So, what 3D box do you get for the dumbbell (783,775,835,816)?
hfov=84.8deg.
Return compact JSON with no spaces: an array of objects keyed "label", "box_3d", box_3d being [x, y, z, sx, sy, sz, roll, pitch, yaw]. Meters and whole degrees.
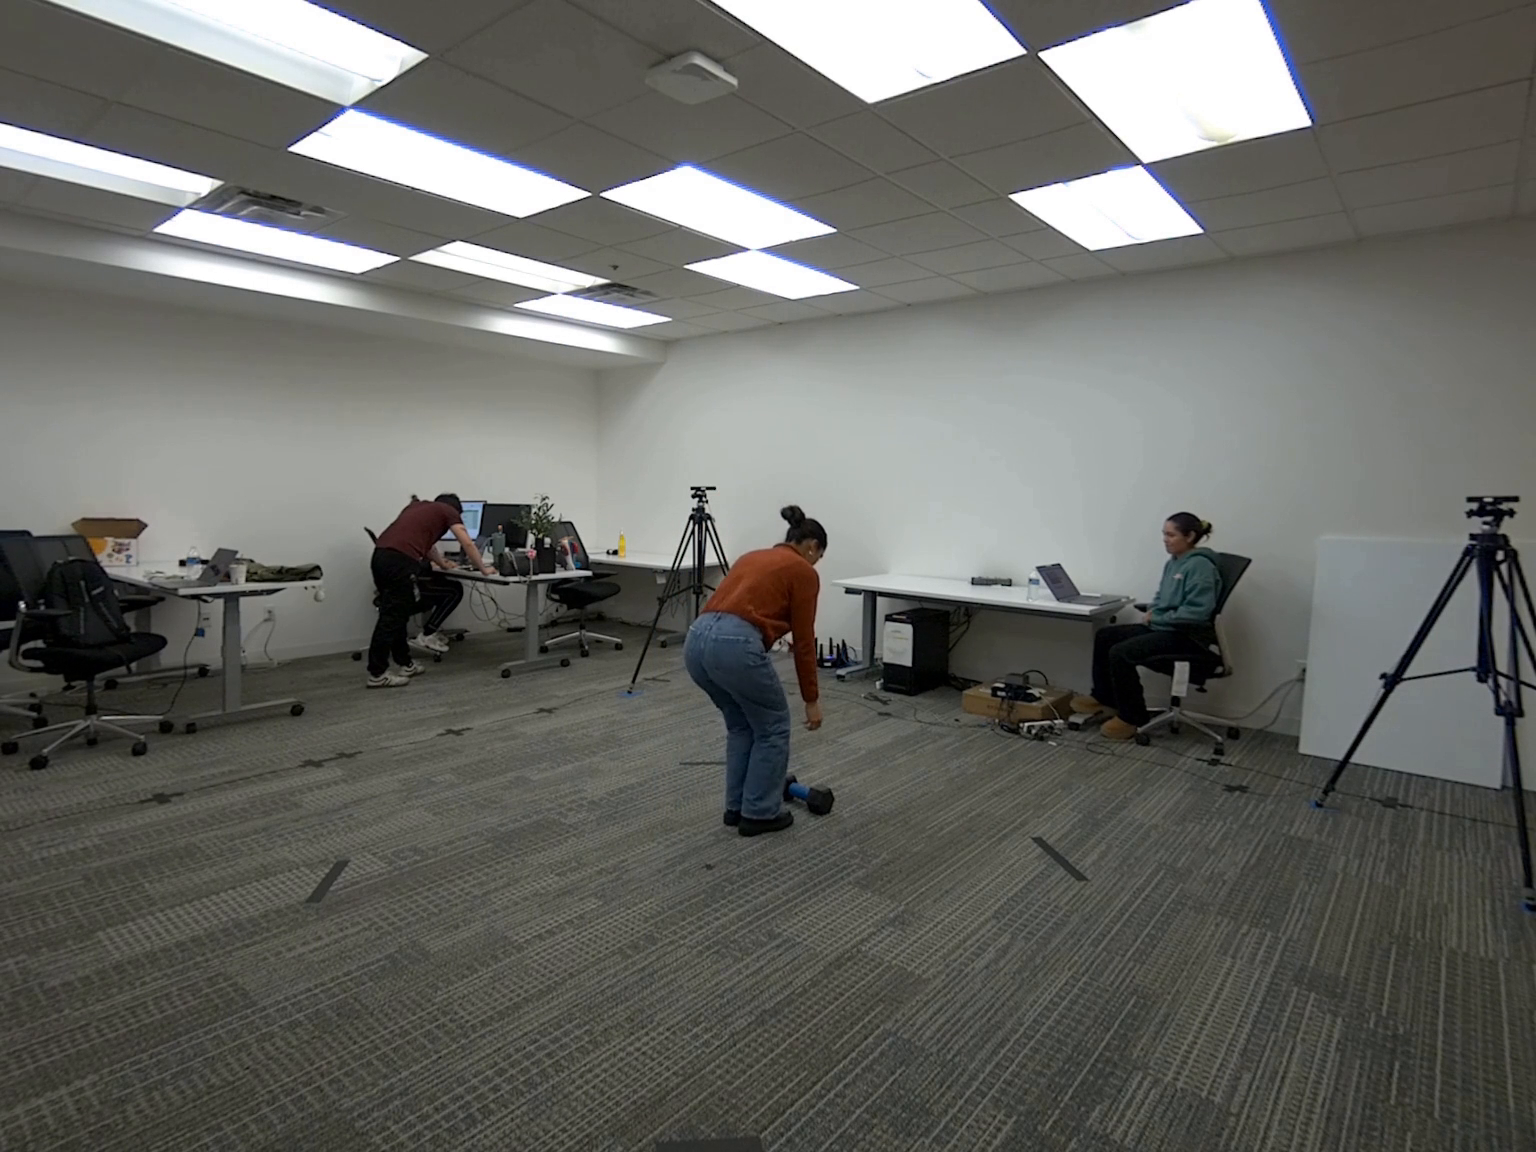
[{"label":"dumbbell","box_3d":[0.143,0.952,3.754,0.304,0.124,0.104,7,-22,47]}]
